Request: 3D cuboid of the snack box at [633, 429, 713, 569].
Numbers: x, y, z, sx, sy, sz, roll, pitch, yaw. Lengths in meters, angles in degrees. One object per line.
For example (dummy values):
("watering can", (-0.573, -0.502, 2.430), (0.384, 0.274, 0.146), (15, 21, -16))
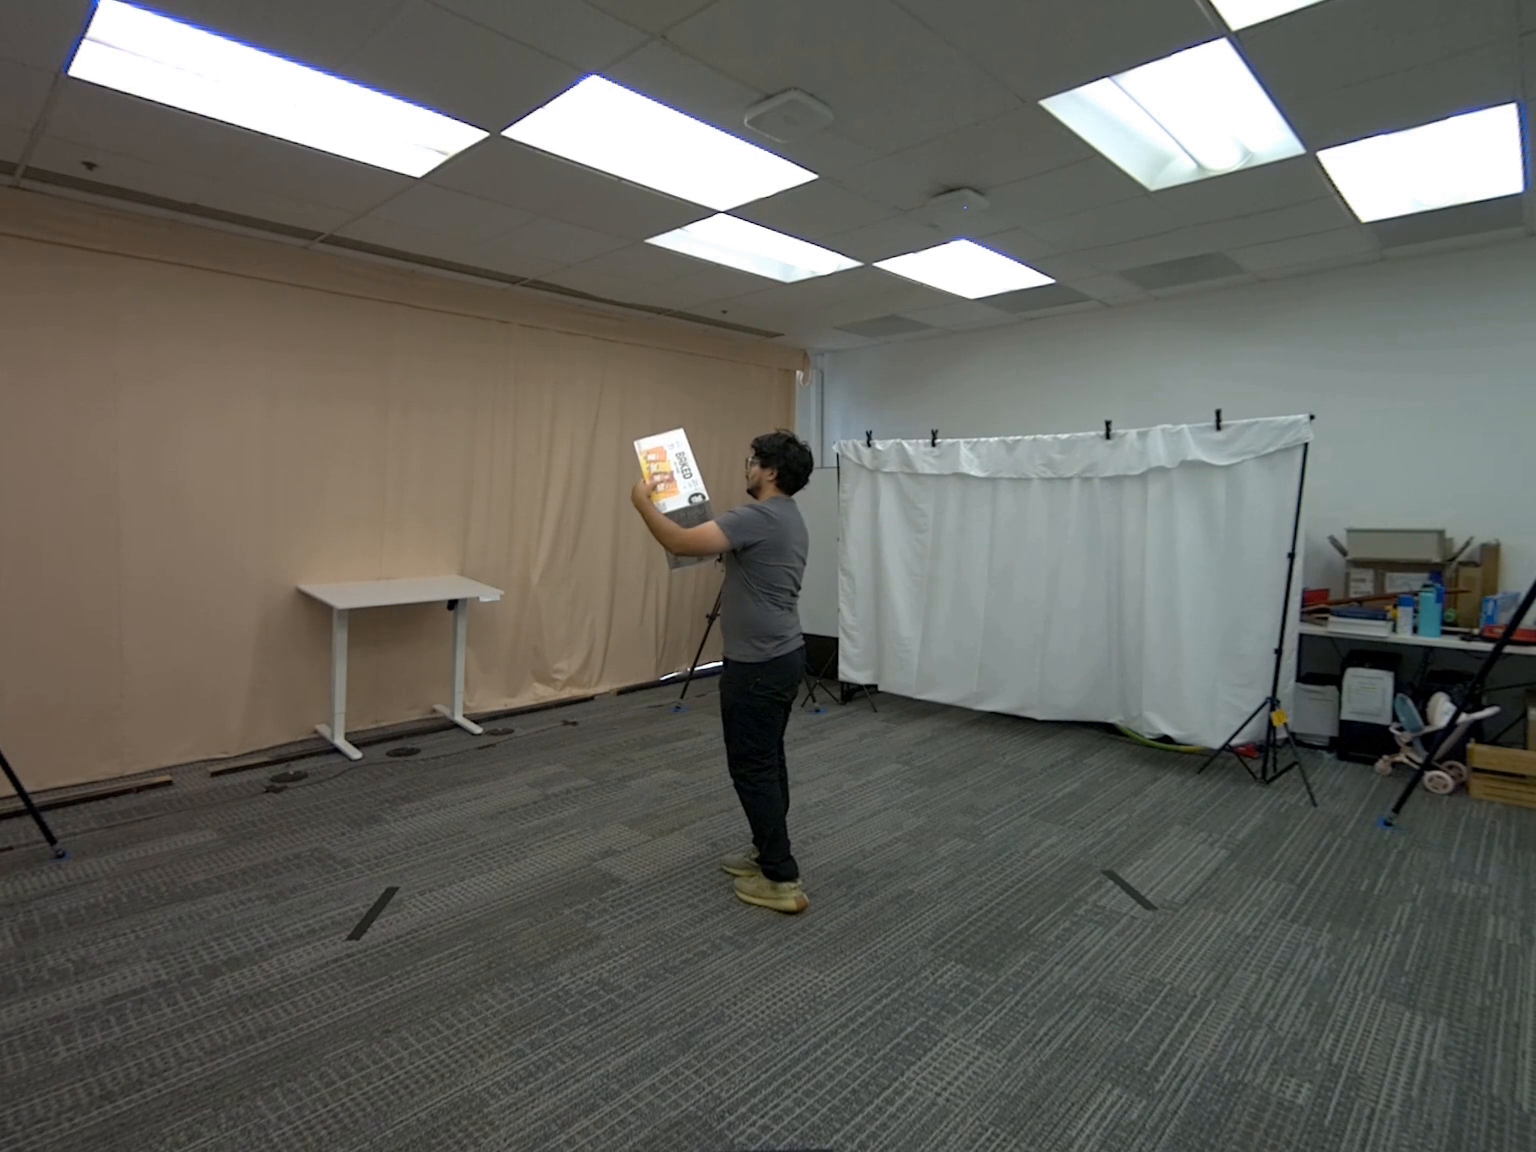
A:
("snack box", (-0.353, -0.294, 3.278), (0.204, 0.417, 0.332), (-16, -39, -7))
